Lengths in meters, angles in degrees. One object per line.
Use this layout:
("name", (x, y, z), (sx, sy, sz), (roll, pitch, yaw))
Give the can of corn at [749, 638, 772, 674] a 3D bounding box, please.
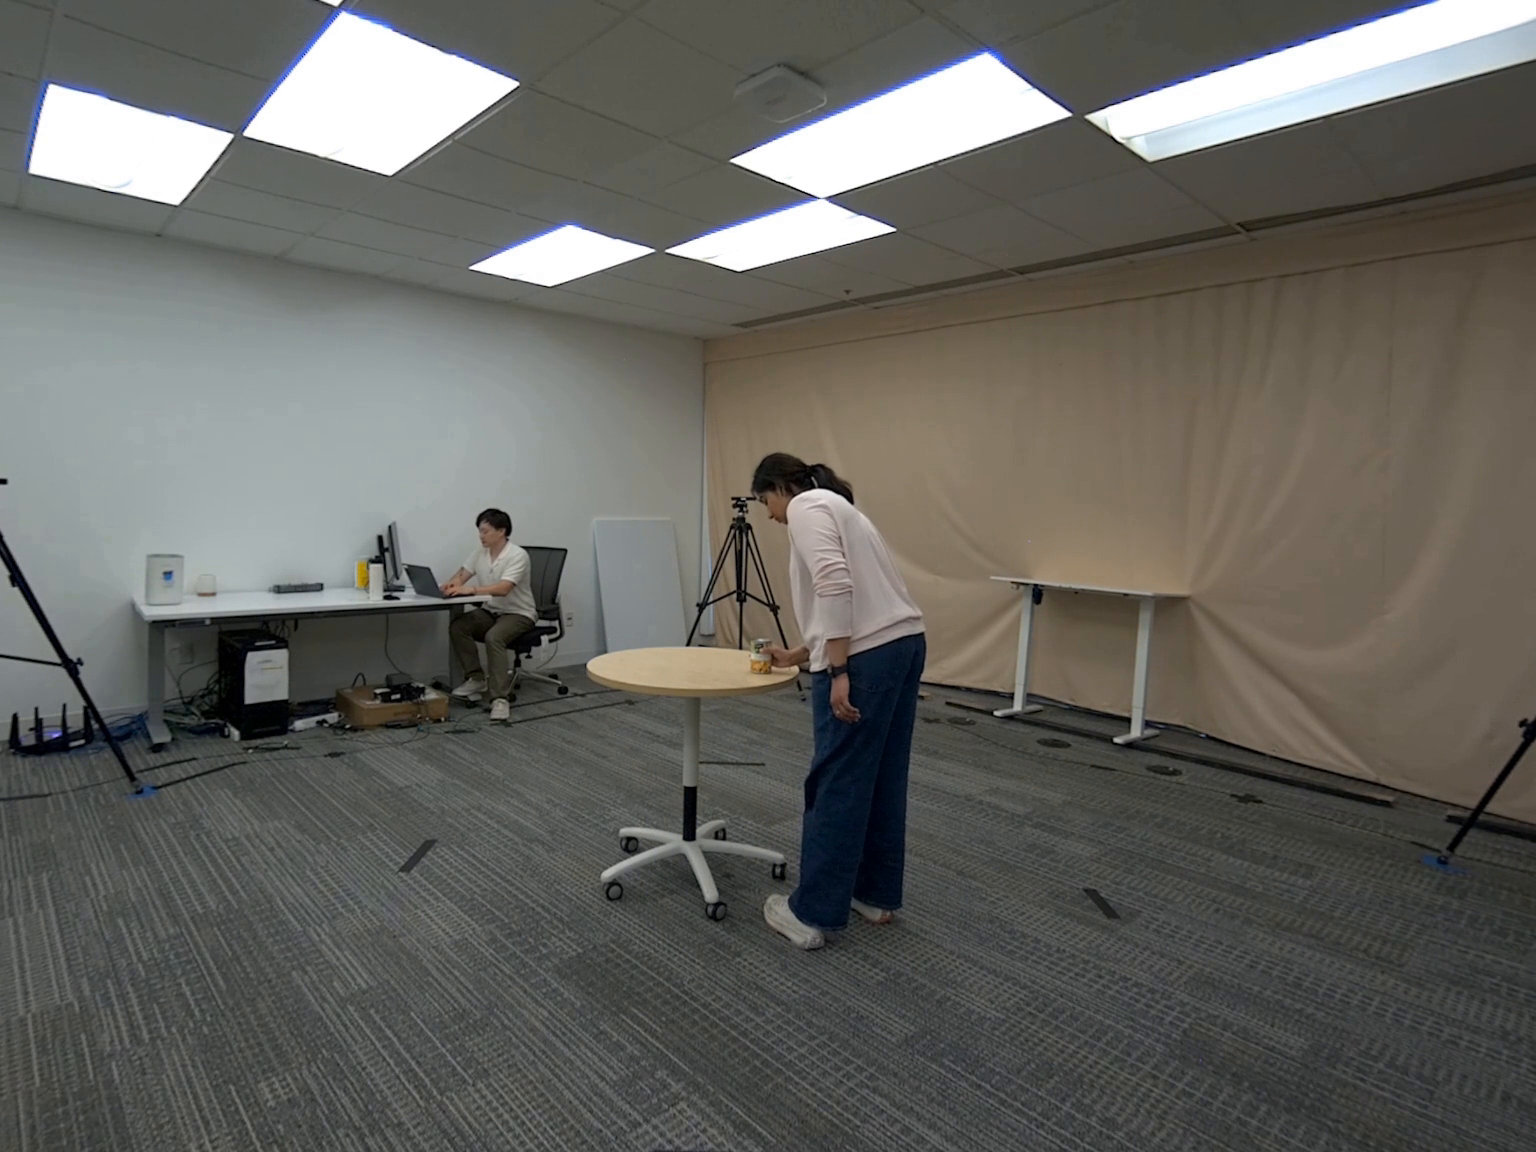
("can of corn", (-0.032, 0.282, 2.965), (0.074, 0.111, 0.074), (5, 3, -2))
